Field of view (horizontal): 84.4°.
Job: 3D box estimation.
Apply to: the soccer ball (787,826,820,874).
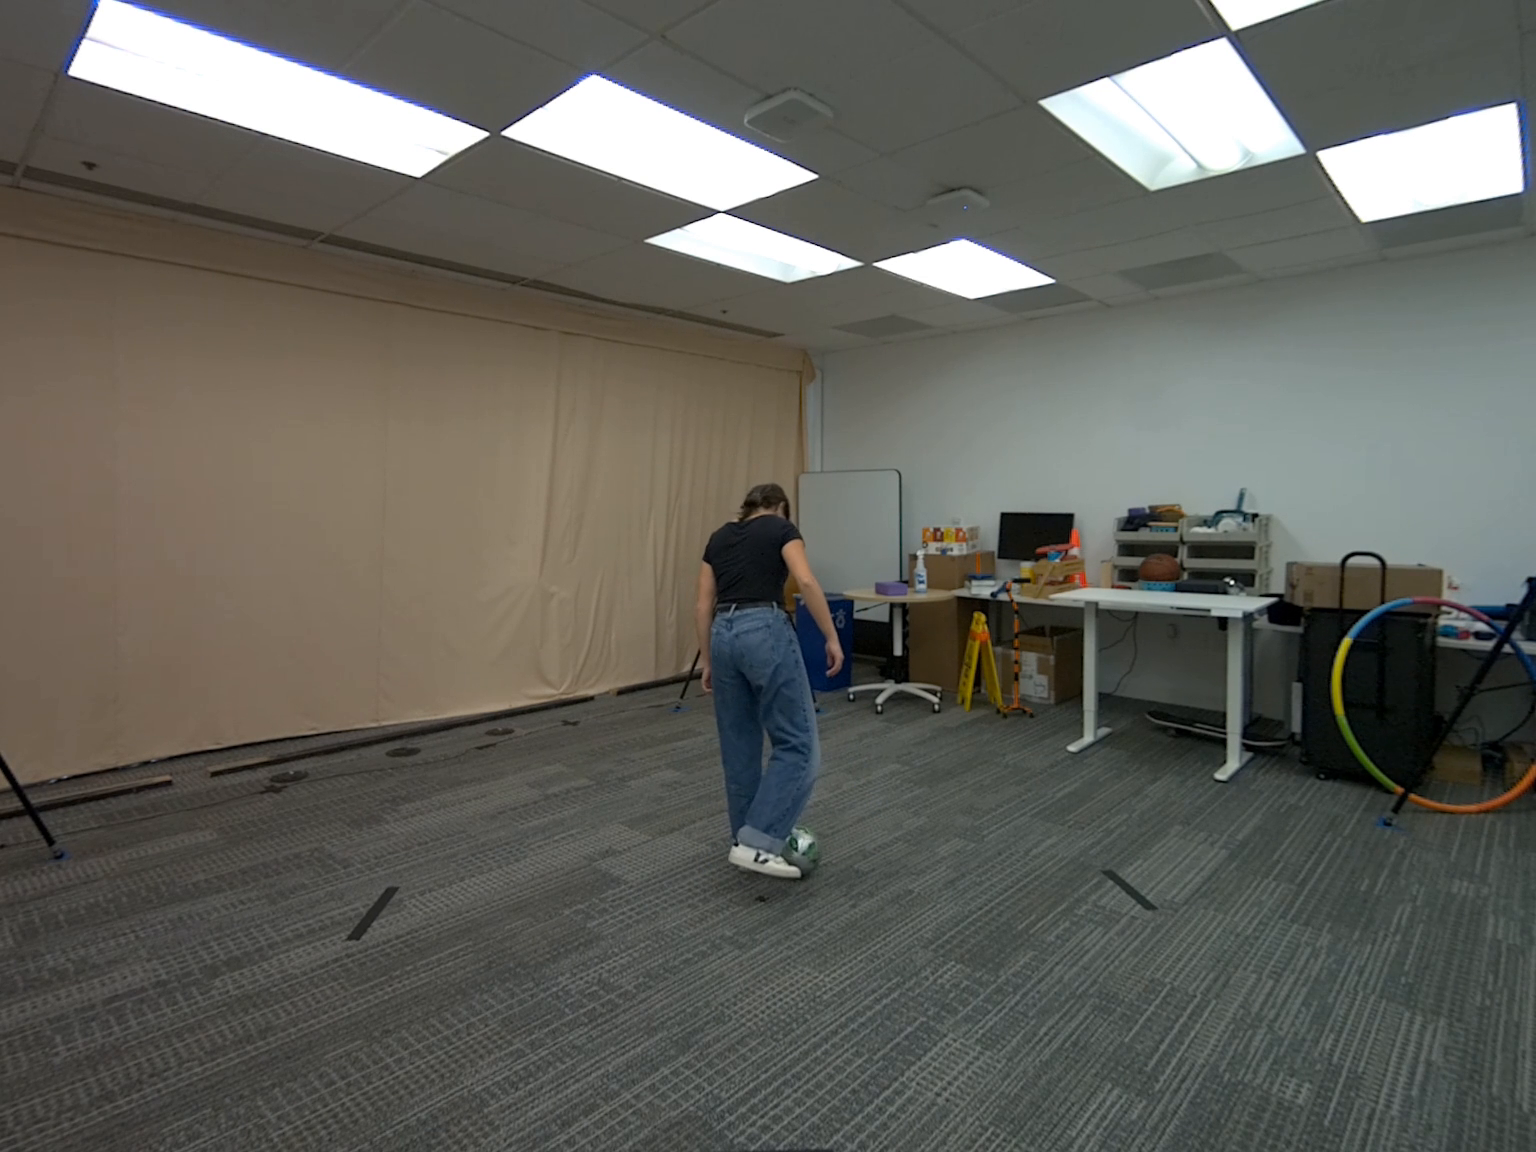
[{"bbox_3d":[0.118,1.038,3.163,0.187,0.187,0.188,0,4,-2],"label":"soccer ball"}]
